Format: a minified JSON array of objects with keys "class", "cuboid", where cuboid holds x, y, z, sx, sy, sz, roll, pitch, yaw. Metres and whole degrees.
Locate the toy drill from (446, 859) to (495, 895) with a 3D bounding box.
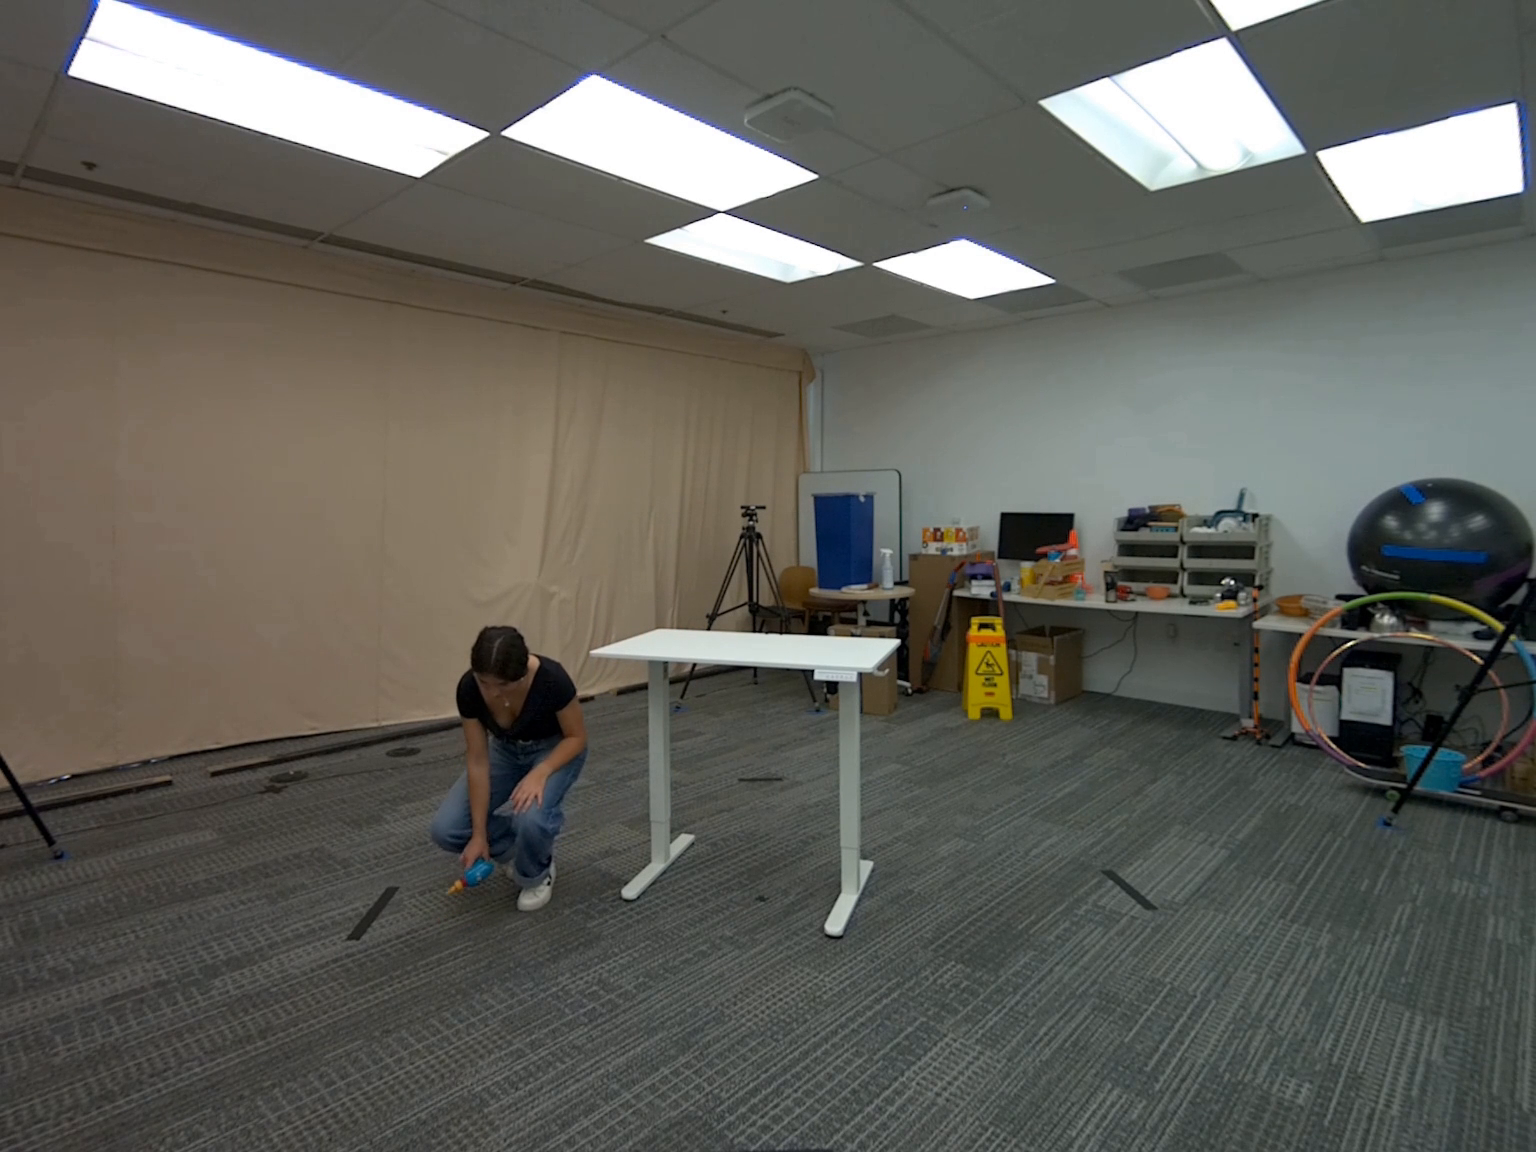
[{"class":"toy drill","cuboid":[-1.011,1.012,2.852,0.168,0.060,0.149,-26,15,-17]}]
